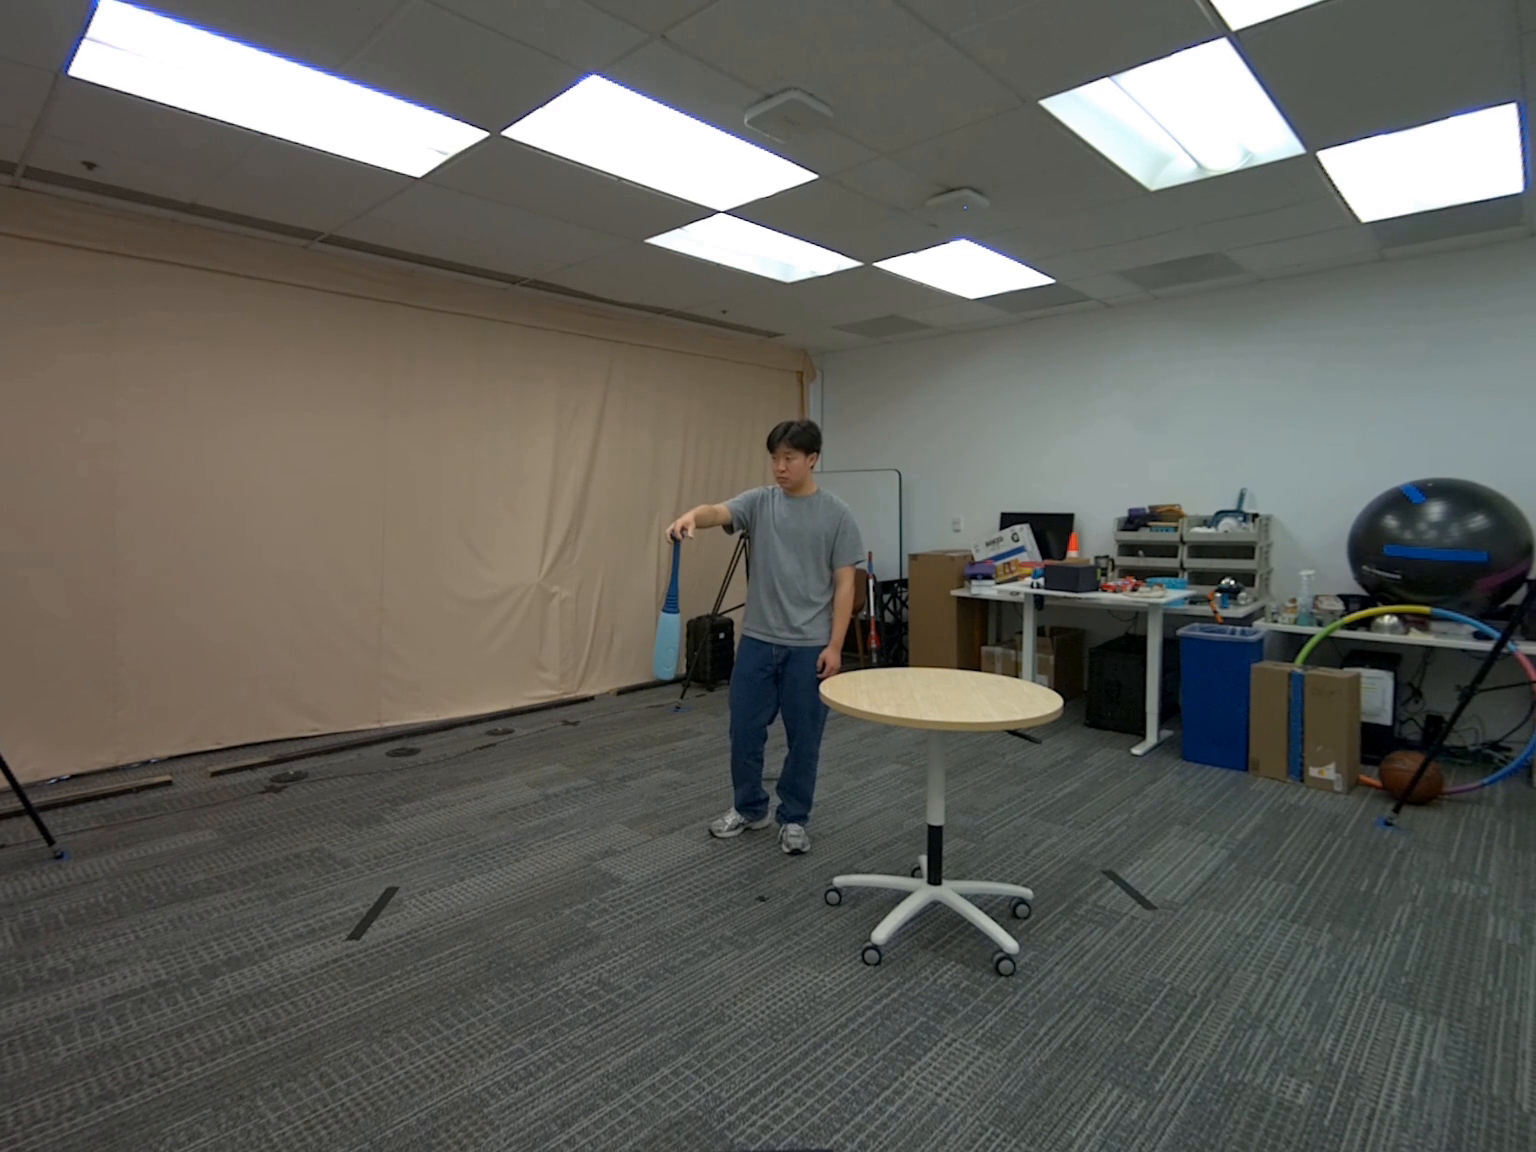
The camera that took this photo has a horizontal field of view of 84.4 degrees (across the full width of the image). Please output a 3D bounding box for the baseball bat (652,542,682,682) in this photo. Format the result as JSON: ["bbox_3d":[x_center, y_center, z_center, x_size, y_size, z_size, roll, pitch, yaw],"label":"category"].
[{"bbox_3d":[-0.339,0.113,3.039,0.089,0.540,0.090,6,9,-3],"label":"baseball bat"}]
